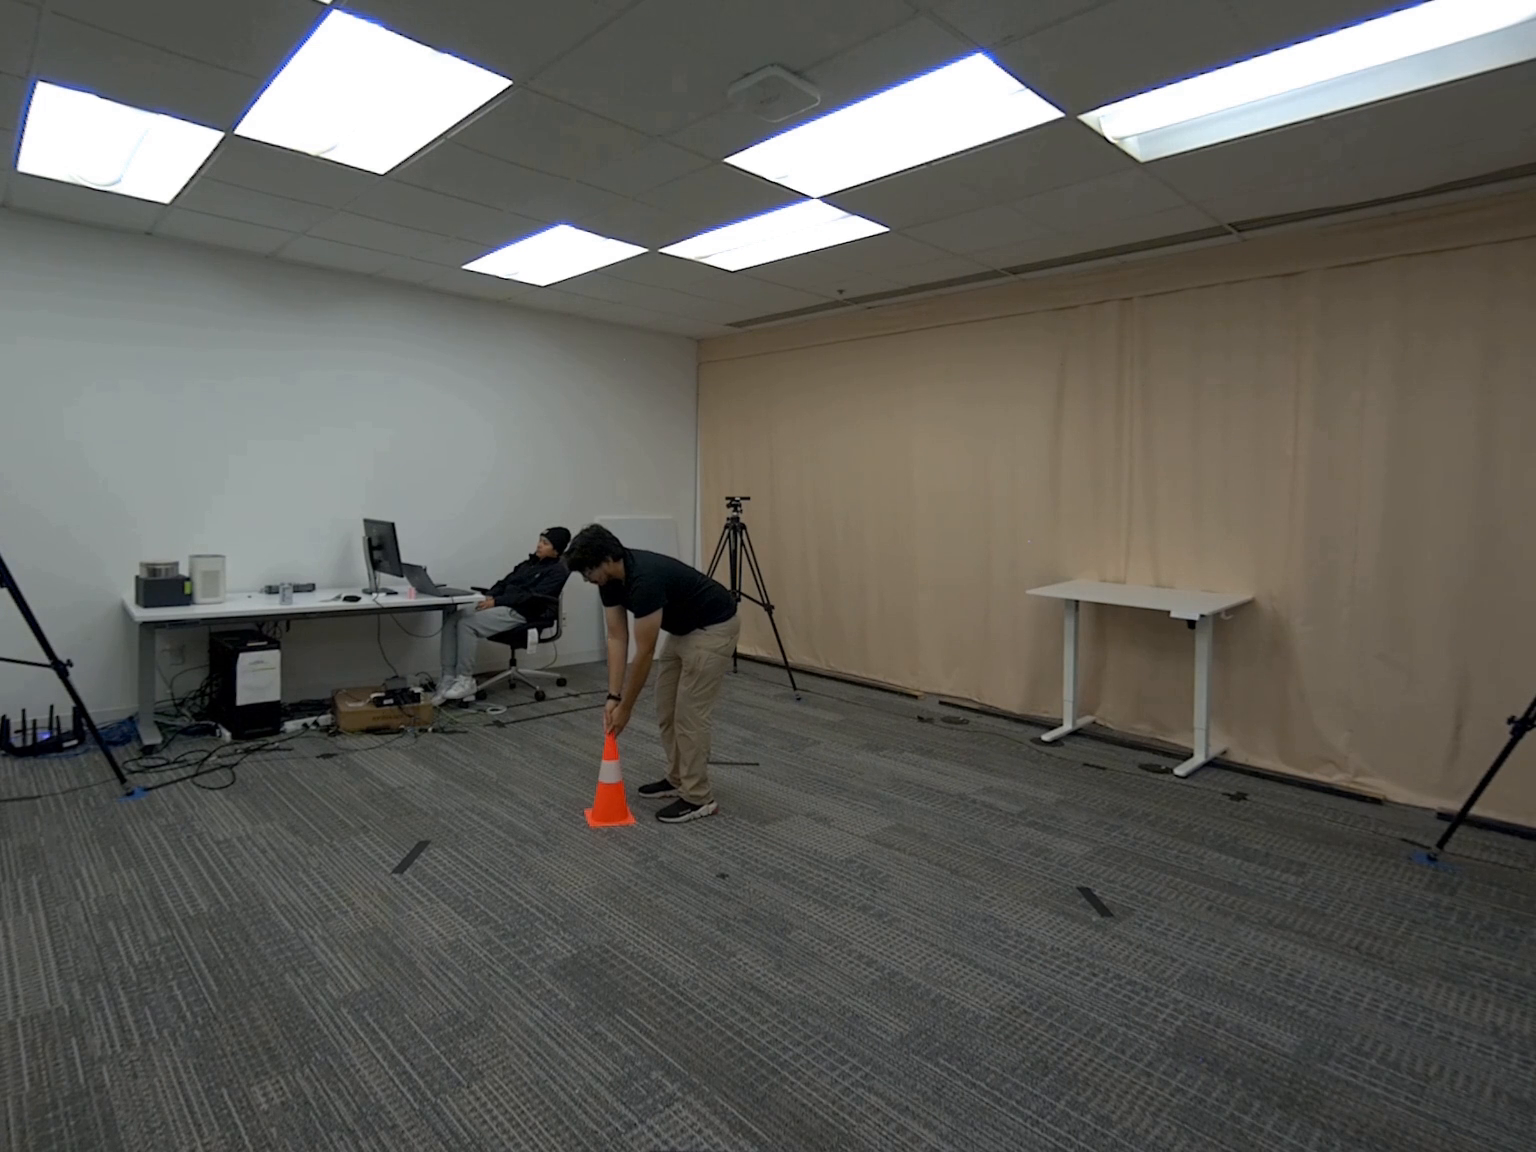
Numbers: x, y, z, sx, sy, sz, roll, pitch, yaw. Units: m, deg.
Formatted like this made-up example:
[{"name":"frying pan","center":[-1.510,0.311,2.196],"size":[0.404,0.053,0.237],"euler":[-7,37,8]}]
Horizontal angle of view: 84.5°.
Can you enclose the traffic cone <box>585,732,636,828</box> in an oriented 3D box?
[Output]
[{"name":"traffic cone","center":[-0.694,0.865,3.653],"size":[0.202,0.383,0.207],"euler":[1,3,-19]}]
